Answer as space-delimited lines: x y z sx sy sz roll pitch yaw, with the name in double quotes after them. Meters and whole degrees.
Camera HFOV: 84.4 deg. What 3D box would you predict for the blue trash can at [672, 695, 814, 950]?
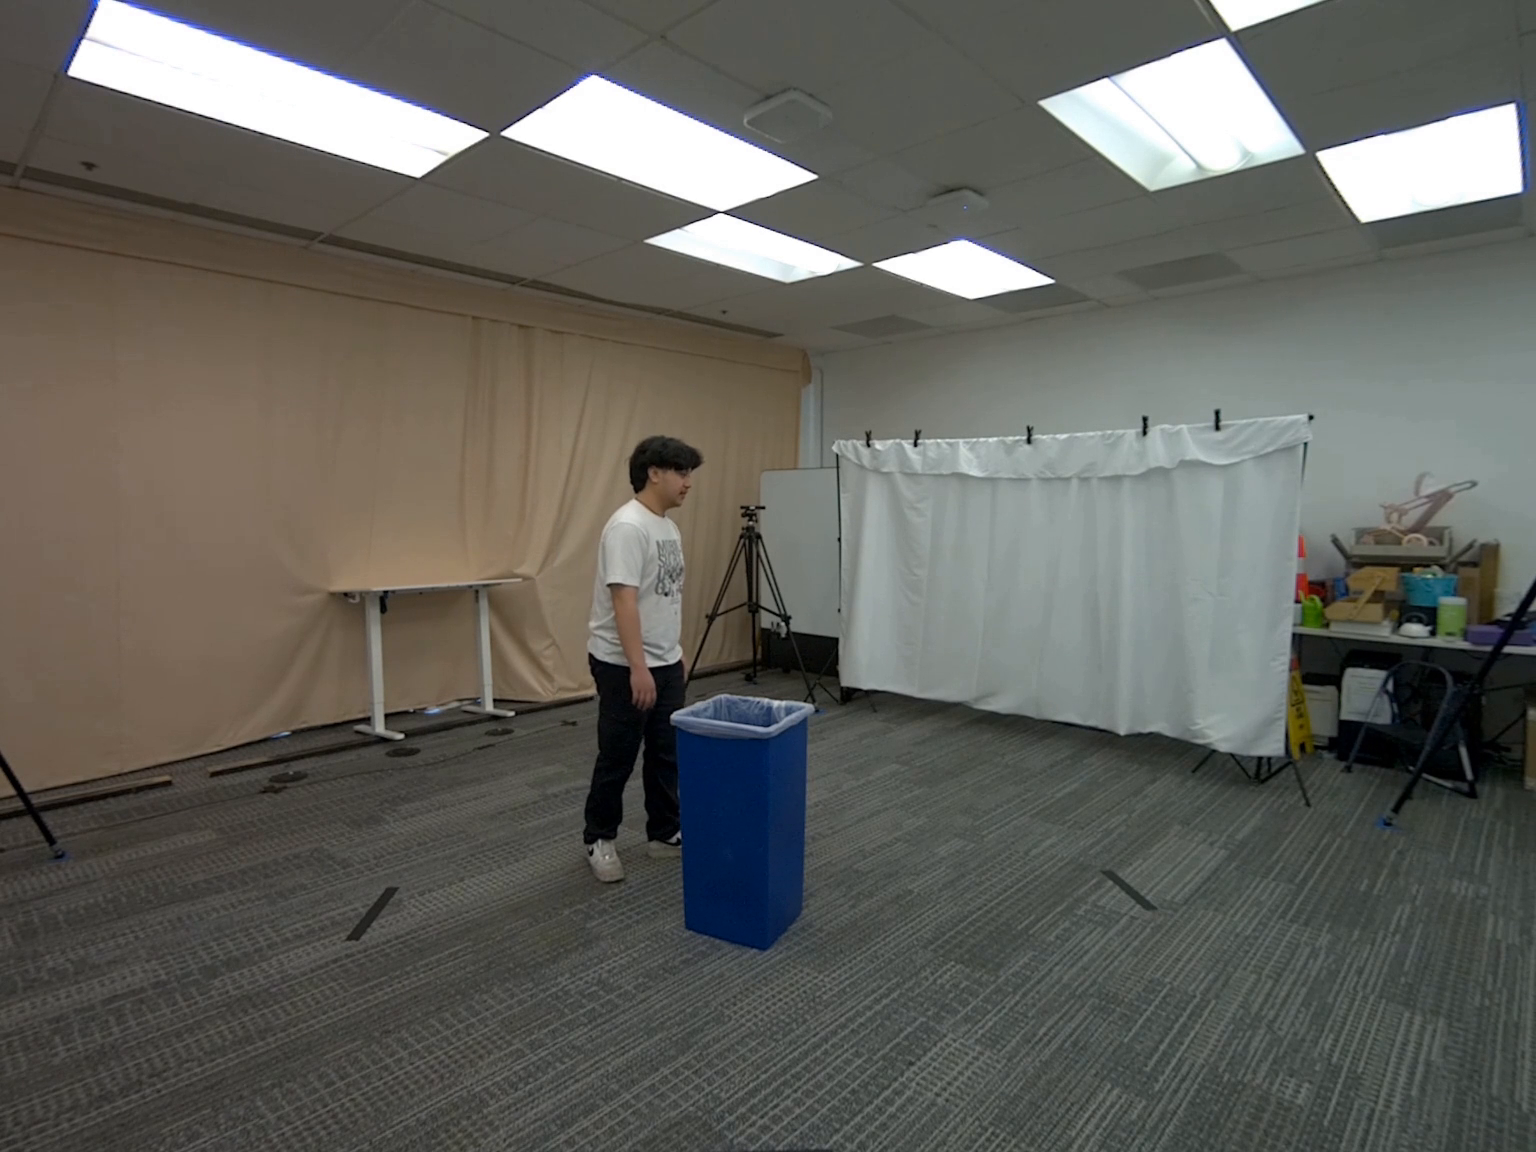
-0.076 0.800 2.804 0.388 0.712 0.365 1 3 27 "blue trash can"
